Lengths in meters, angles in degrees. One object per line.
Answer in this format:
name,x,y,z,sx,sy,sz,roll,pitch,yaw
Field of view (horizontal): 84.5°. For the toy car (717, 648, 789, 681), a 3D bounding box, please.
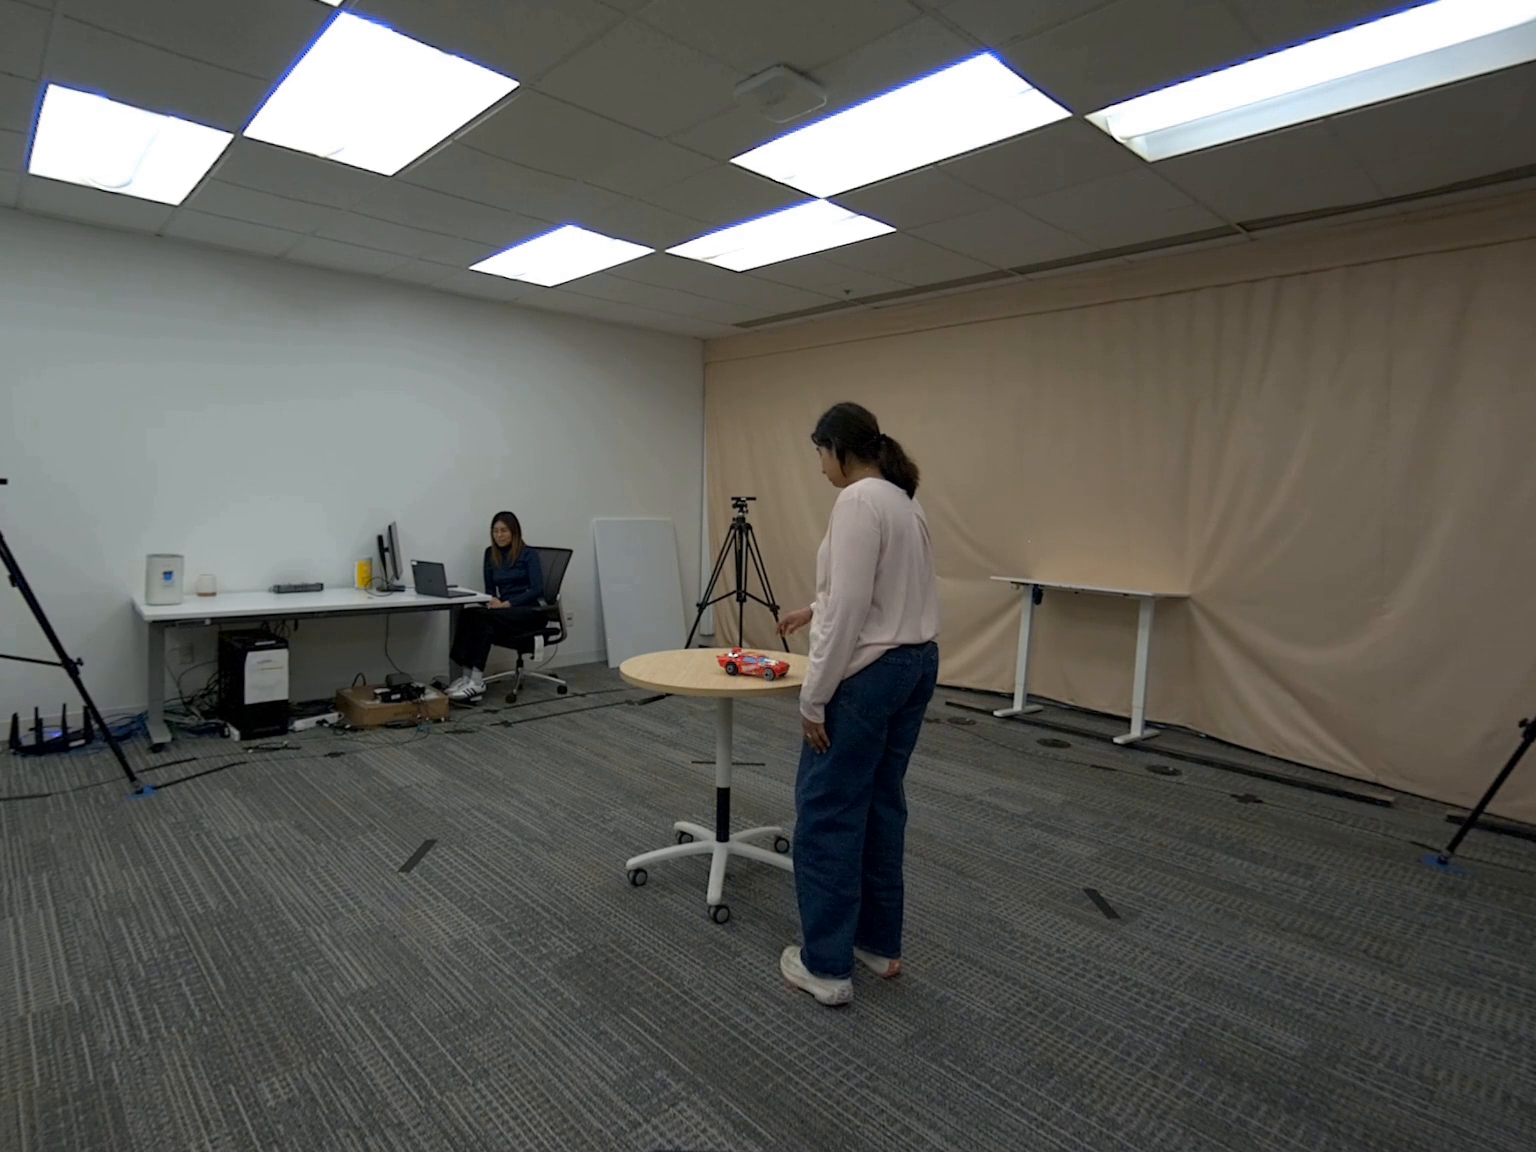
toy car,-0.066,0.312,2.904,0.261,0.083,0.128,15,11,28
